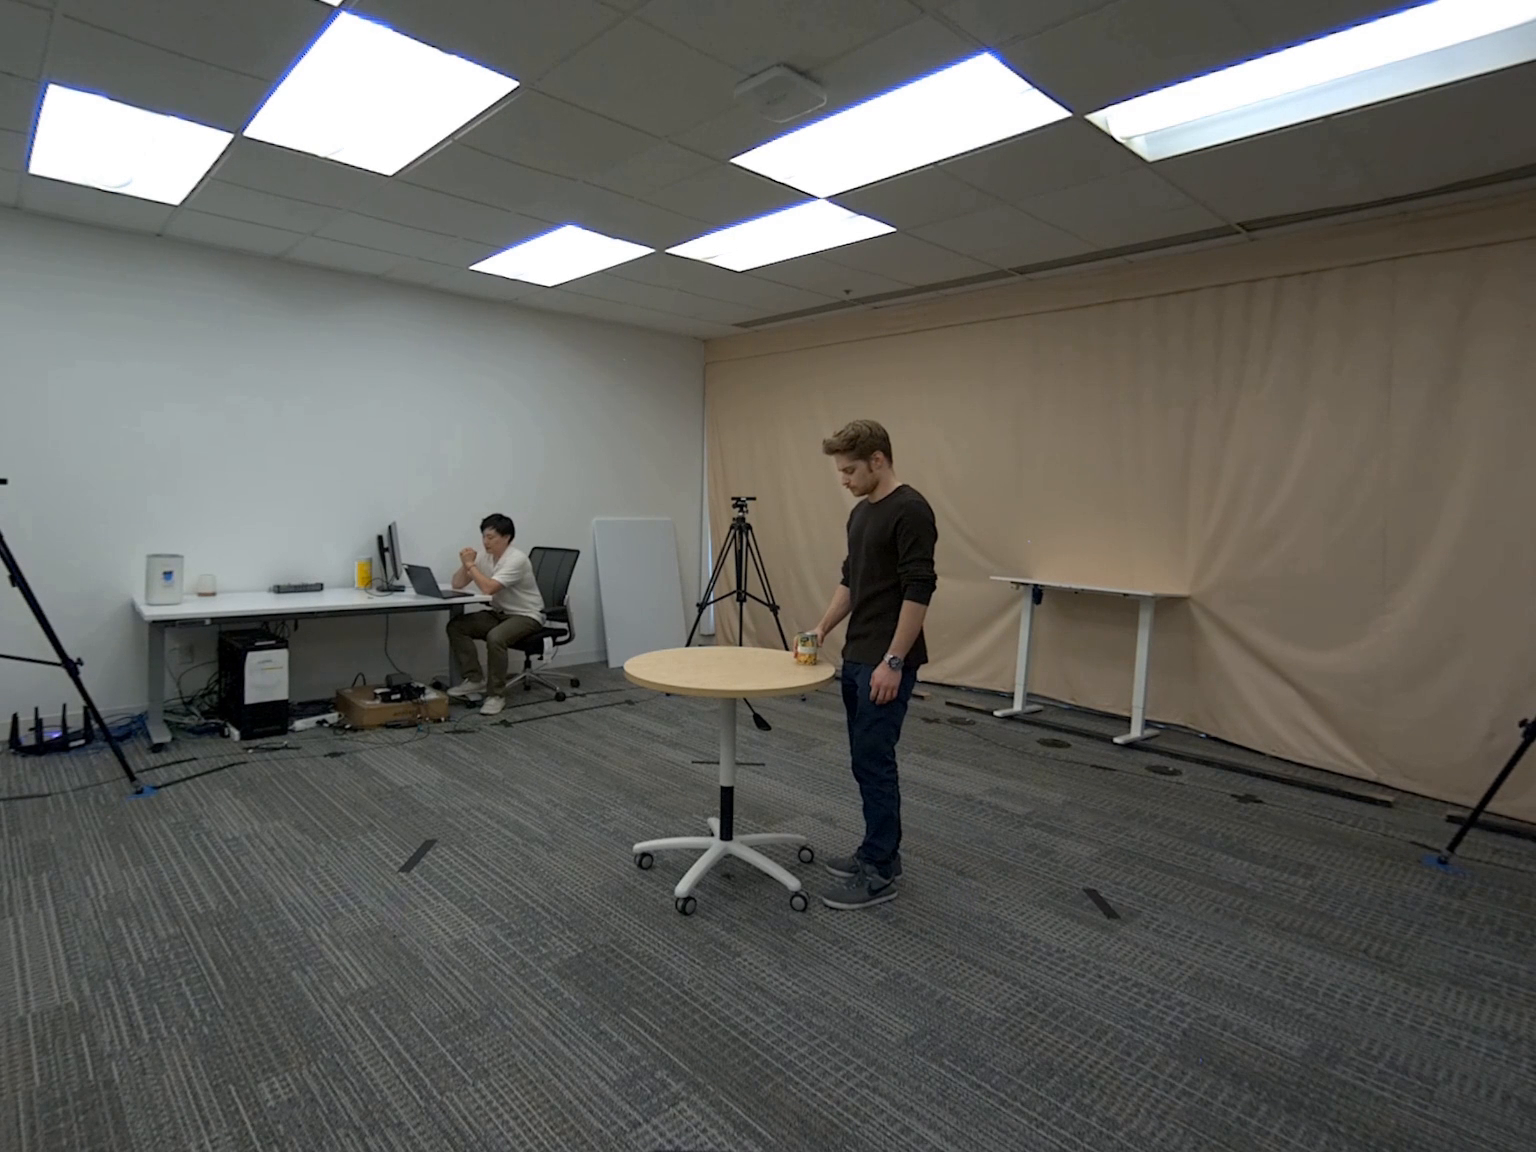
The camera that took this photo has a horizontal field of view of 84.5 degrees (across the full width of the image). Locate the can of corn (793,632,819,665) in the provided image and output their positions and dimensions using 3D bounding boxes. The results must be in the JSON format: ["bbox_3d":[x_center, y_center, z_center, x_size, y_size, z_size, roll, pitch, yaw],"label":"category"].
[{"bbox_3d":[0.146,0.269,3.116,0.074,0.111,0.074,-2,2,-1],"label":"can of corn"}]
